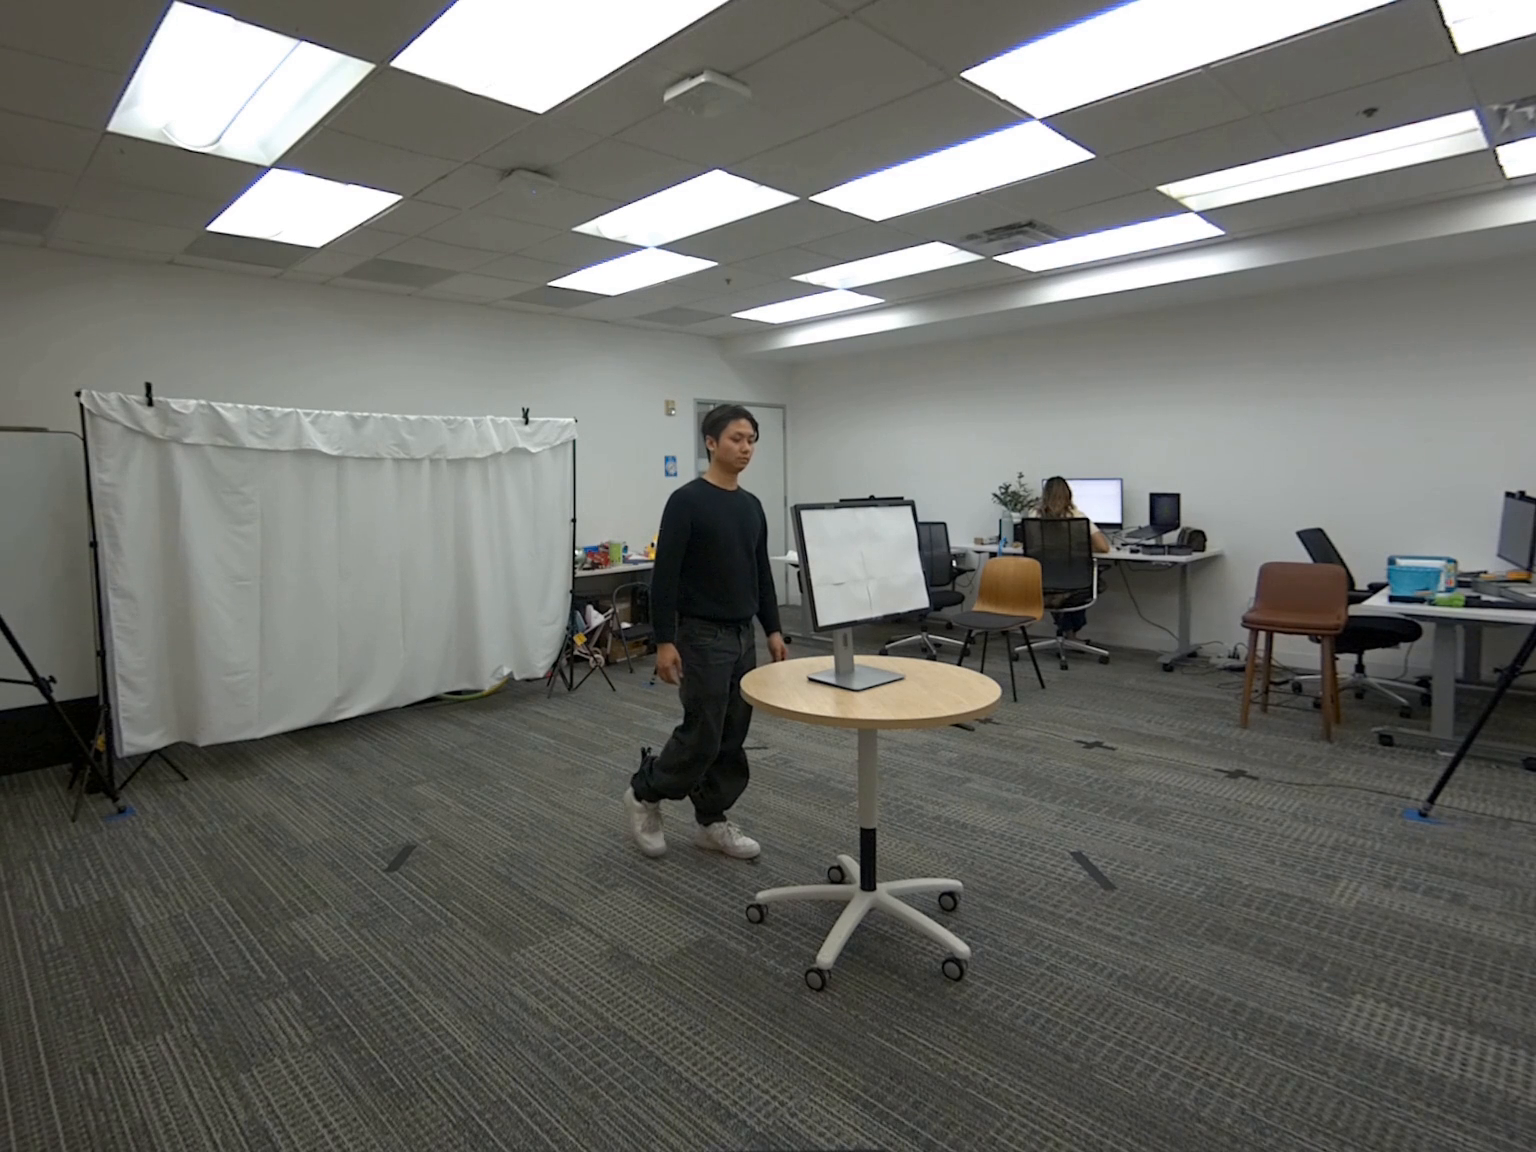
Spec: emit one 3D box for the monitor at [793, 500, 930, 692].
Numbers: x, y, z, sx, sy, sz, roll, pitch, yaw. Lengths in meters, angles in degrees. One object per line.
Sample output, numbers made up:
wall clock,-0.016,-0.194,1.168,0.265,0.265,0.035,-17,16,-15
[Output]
monitor,0.276,0.048,2.589,0.515,0.513,0.180,-3,8,-44
